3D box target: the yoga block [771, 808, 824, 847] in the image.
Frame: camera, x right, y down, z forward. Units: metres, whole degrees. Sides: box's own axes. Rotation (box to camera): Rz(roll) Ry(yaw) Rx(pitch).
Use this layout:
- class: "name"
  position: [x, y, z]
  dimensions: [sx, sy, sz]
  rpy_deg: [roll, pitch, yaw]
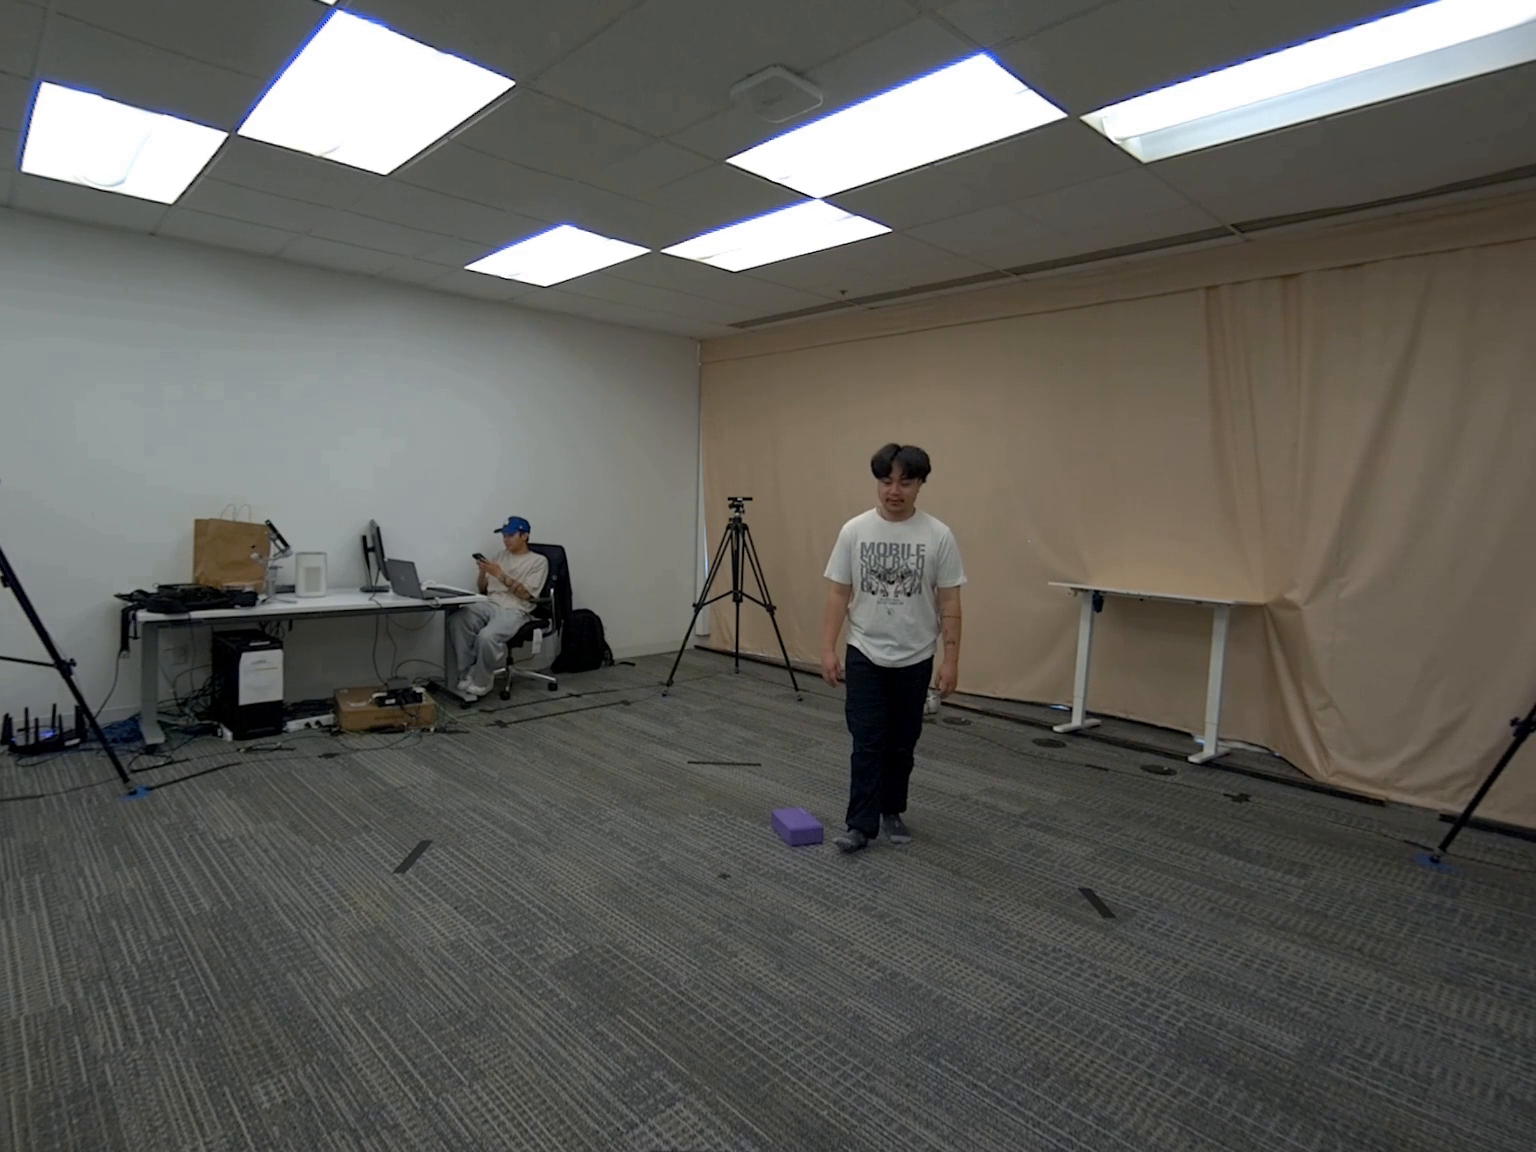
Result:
- class: "yoga block"
  position: [0.111, 1.039, 3.504]
  dimensions: [0.147, 0.076, 0.233]
  rpy_deg: [0, 5, -19]
